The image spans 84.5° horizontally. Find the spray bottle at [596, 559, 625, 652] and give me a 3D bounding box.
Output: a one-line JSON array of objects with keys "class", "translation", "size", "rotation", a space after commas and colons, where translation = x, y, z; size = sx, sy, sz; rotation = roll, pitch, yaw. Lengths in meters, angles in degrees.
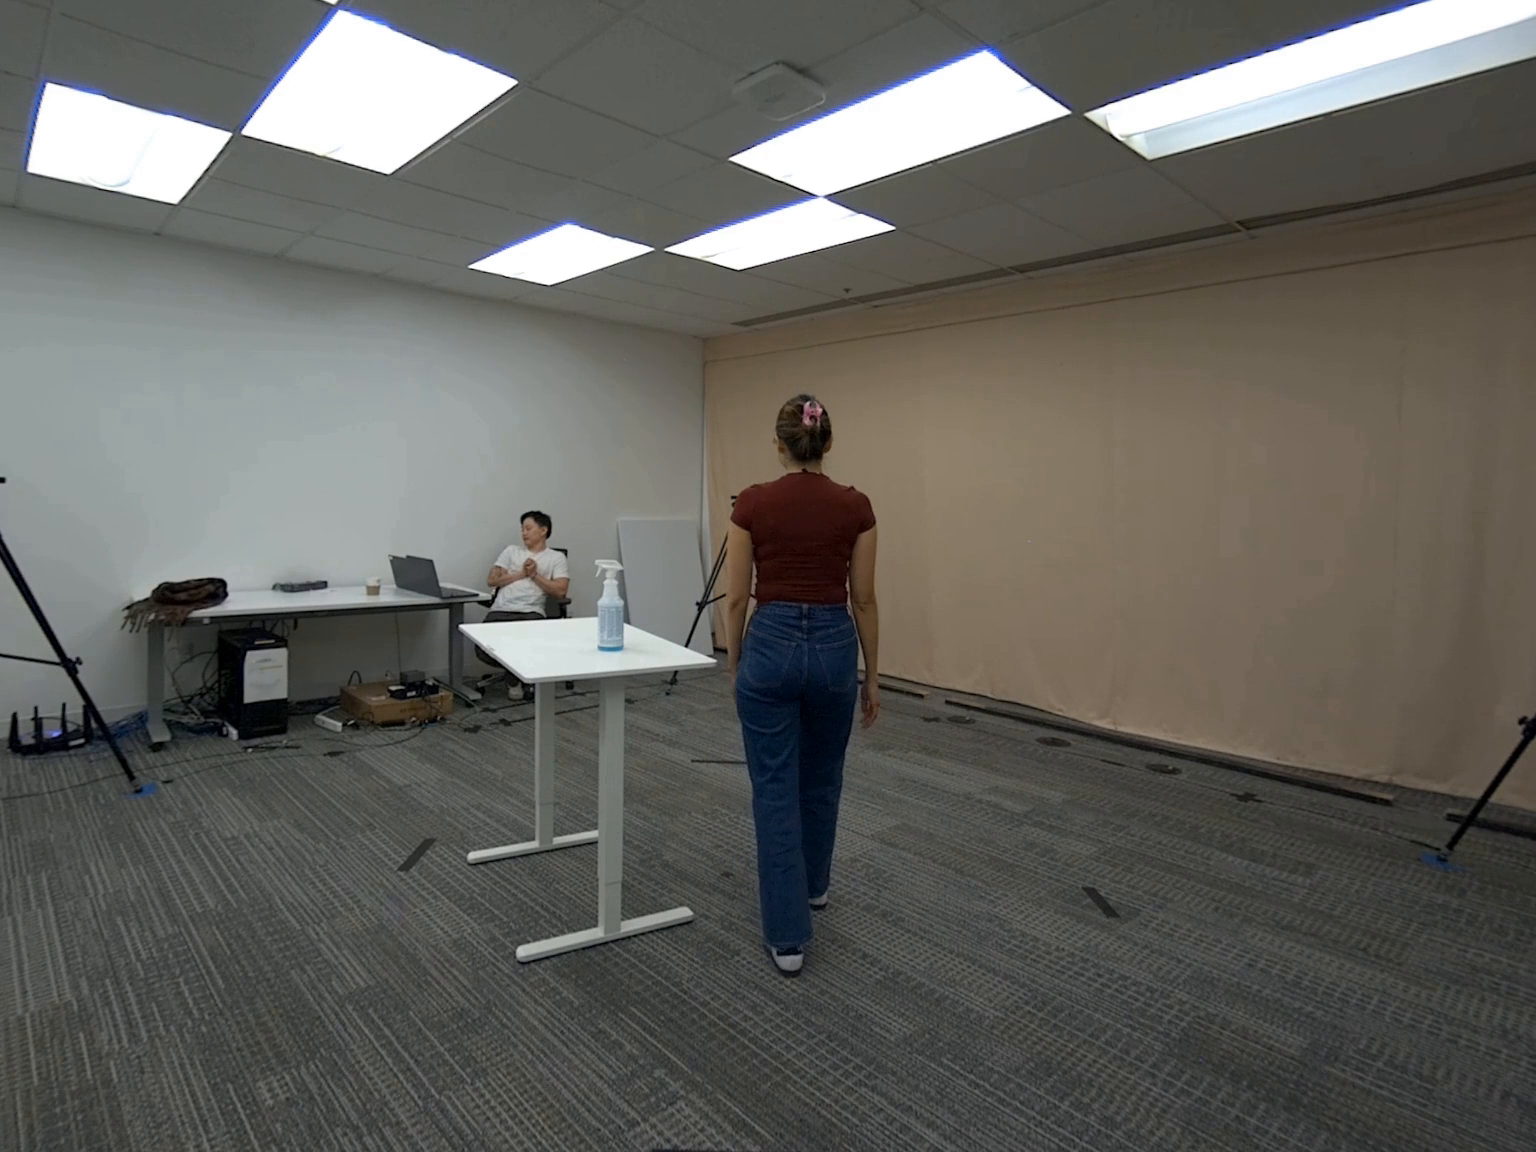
[{"class": "spray bottle", "translation": [-0.530, 0.098, 2.768], "size": [0.091, 0.296, 0.086], "rotation": [1, 3, 8]}]
